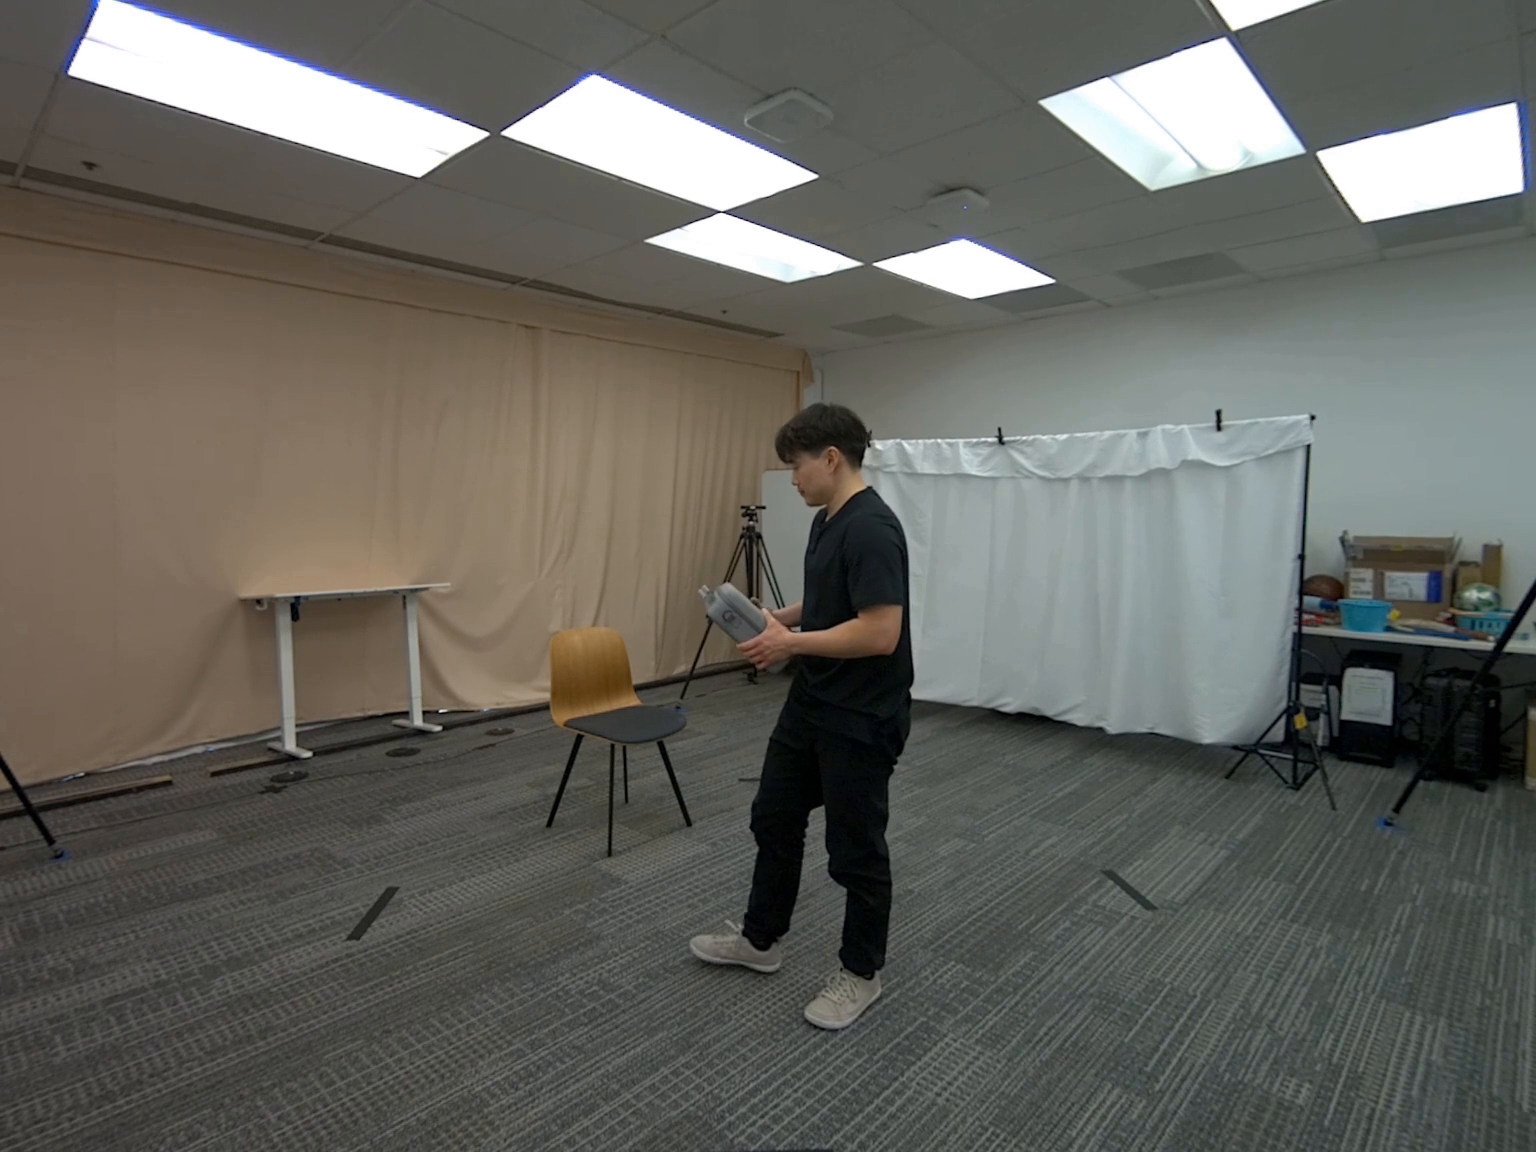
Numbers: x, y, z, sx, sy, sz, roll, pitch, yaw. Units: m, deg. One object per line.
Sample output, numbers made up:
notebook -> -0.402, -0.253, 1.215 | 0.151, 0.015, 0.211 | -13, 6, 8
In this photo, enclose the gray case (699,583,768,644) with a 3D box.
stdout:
gray case -> -0.052, 0.135, 2.293 | 0.260, 0.104, 0.258 | 42, -1, -4
